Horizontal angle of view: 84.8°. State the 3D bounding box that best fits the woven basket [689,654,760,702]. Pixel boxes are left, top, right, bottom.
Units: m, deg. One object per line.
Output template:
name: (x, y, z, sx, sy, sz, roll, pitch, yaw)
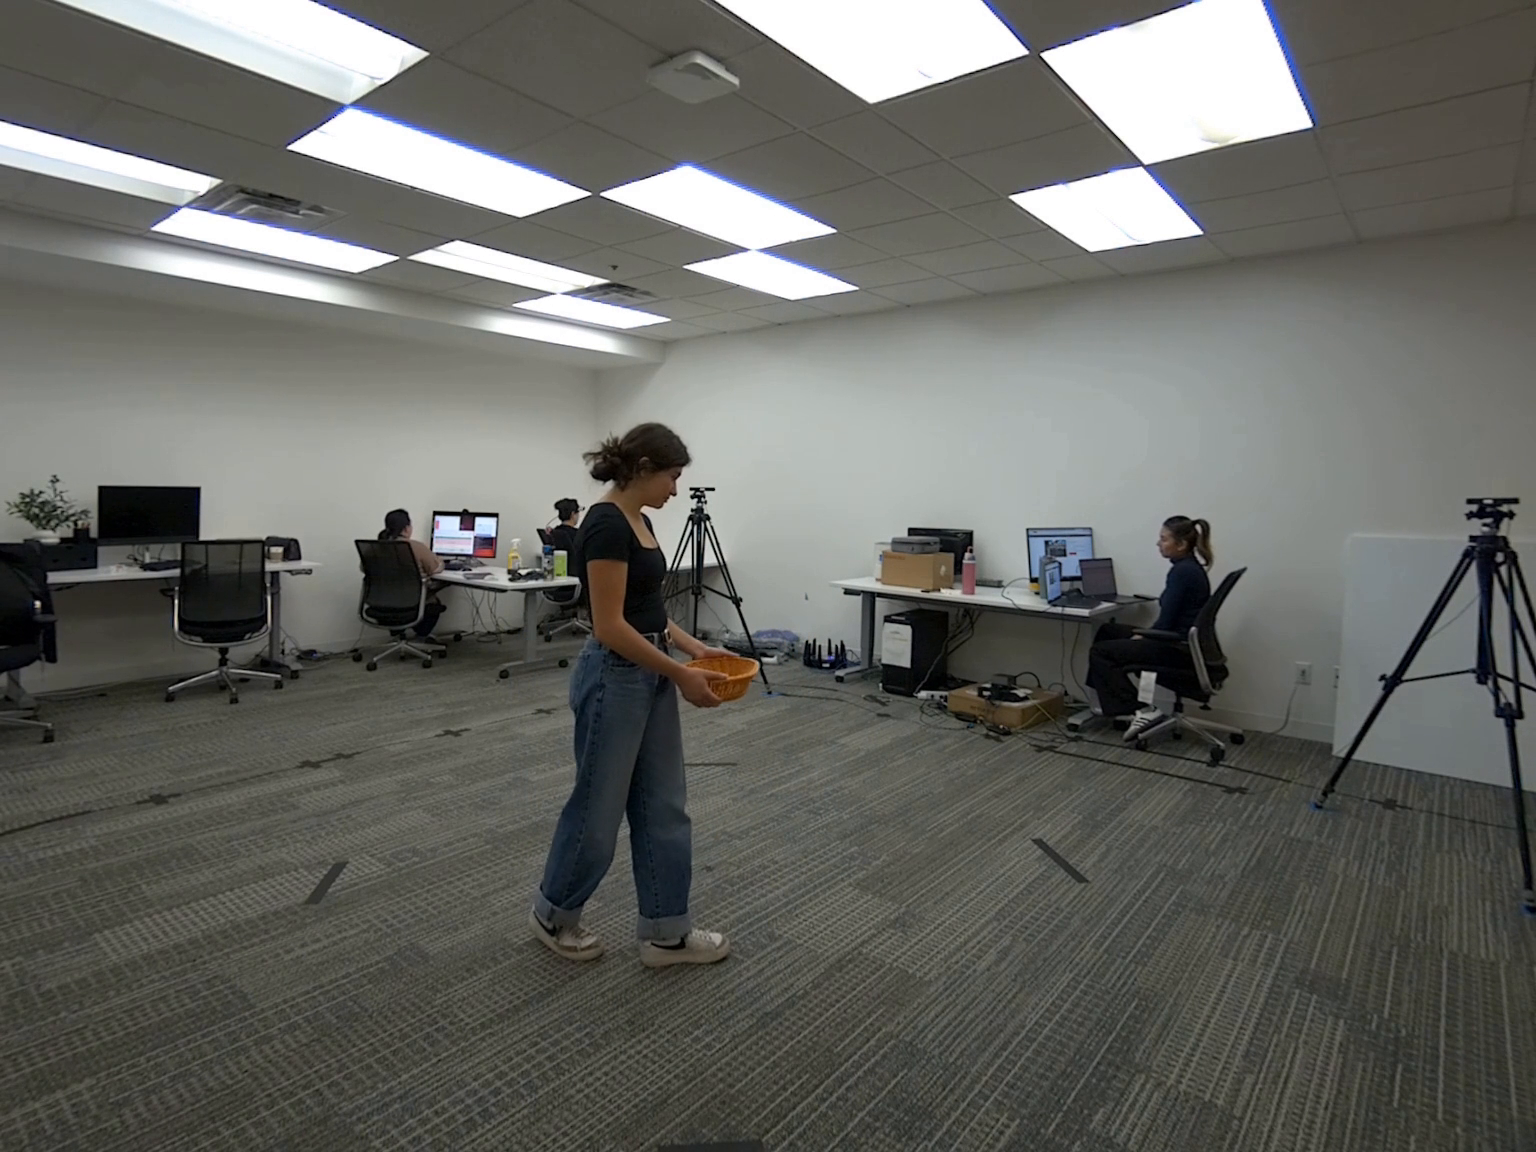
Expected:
woven basket: (-0.168, 0.301, 2.440, 0.255, 0.073, 0.348, -2, 5, 8)
